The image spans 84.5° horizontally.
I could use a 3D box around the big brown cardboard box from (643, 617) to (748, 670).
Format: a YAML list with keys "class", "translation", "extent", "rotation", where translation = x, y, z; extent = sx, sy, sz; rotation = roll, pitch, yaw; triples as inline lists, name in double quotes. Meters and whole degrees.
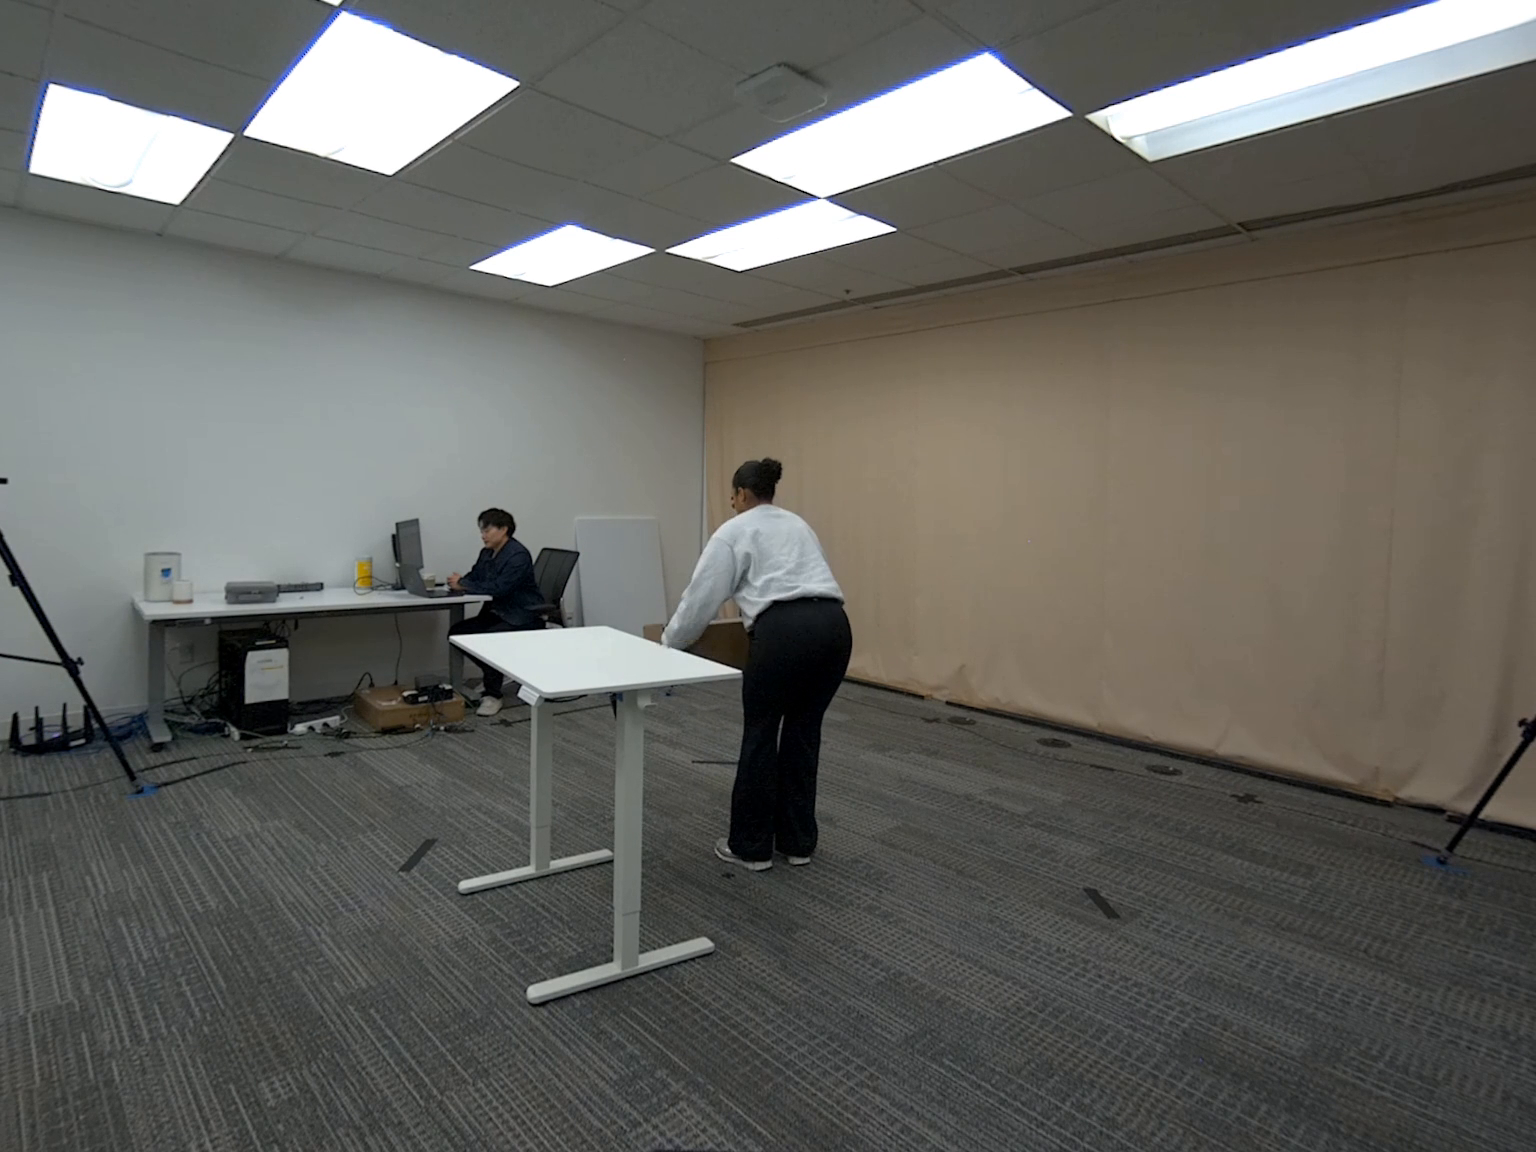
- class: "big brown cardboard box"
  translation: [-0.183, 0.300, 3.582]
  extent: [0.576, 0.233, 0.426]
  rotation: [-4, -1, -37]
